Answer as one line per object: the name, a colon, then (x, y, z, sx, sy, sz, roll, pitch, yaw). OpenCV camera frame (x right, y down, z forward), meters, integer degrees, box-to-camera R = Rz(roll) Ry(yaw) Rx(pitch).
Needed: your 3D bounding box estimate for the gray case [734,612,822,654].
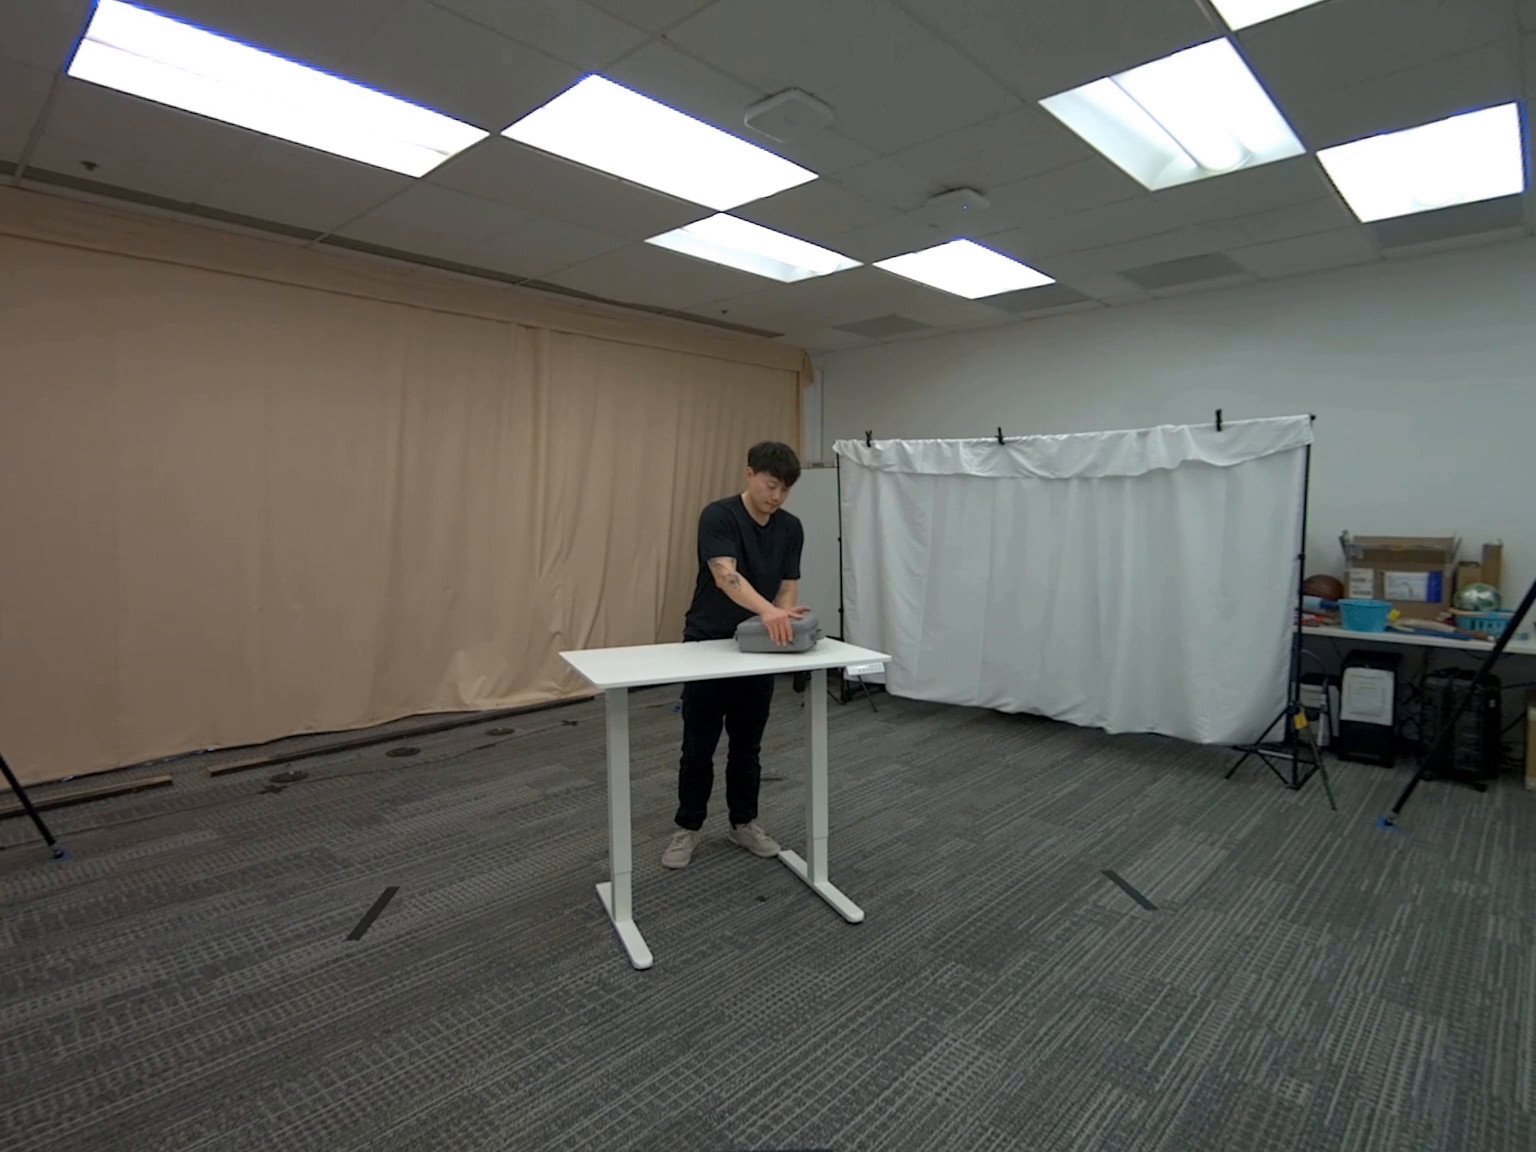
gray case: (0.038, 0.201, 2.993, 0.264, 0.104, 0.253, -3, 2, 13)
